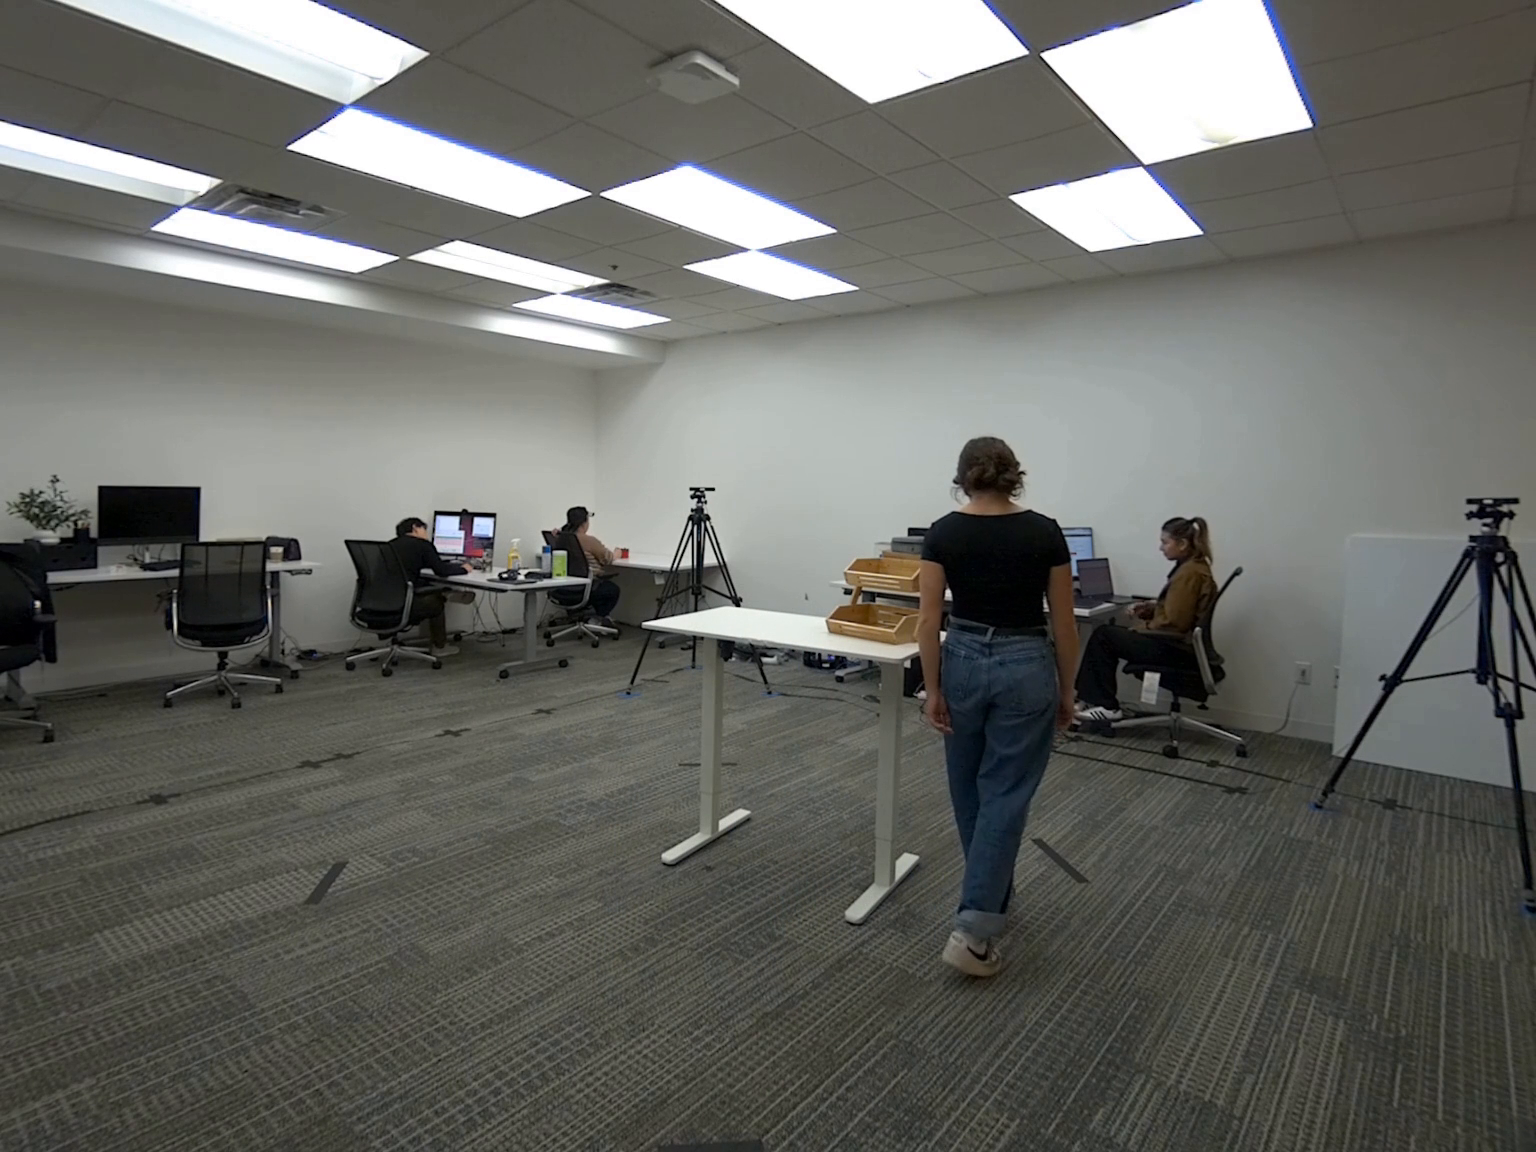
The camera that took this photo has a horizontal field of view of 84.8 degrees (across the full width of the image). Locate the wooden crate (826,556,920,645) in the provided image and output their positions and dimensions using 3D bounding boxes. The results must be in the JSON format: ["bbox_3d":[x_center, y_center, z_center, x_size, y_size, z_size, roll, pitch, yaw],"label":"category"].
[{"bbox_3d":[0.410,0.075,3.027,0.292,0.272,0.336,-1,6,-44],"label":"wooden crate"}]
